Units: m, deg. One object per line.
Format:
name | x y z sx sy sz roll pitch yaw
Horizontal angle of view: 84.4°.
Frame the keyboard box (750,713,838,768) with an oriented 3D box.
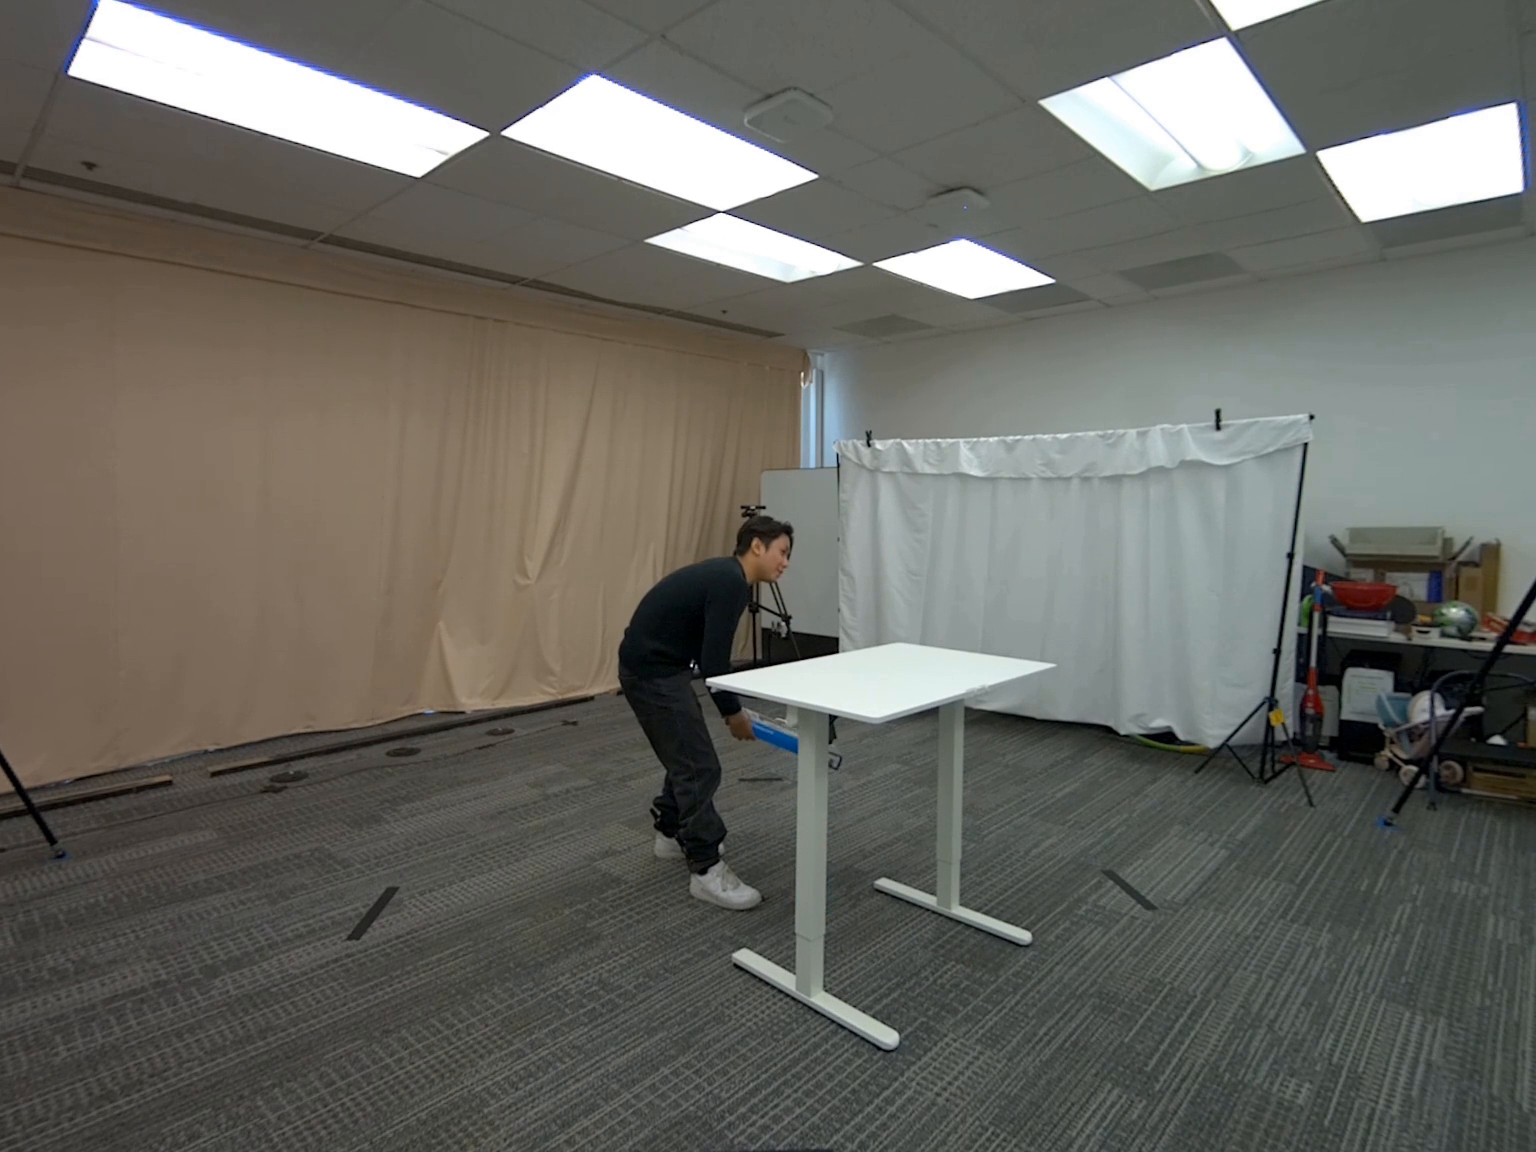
keyboard box | 0.071 0.616 3.199 0.436 0.059 0.176 22 0 -1
